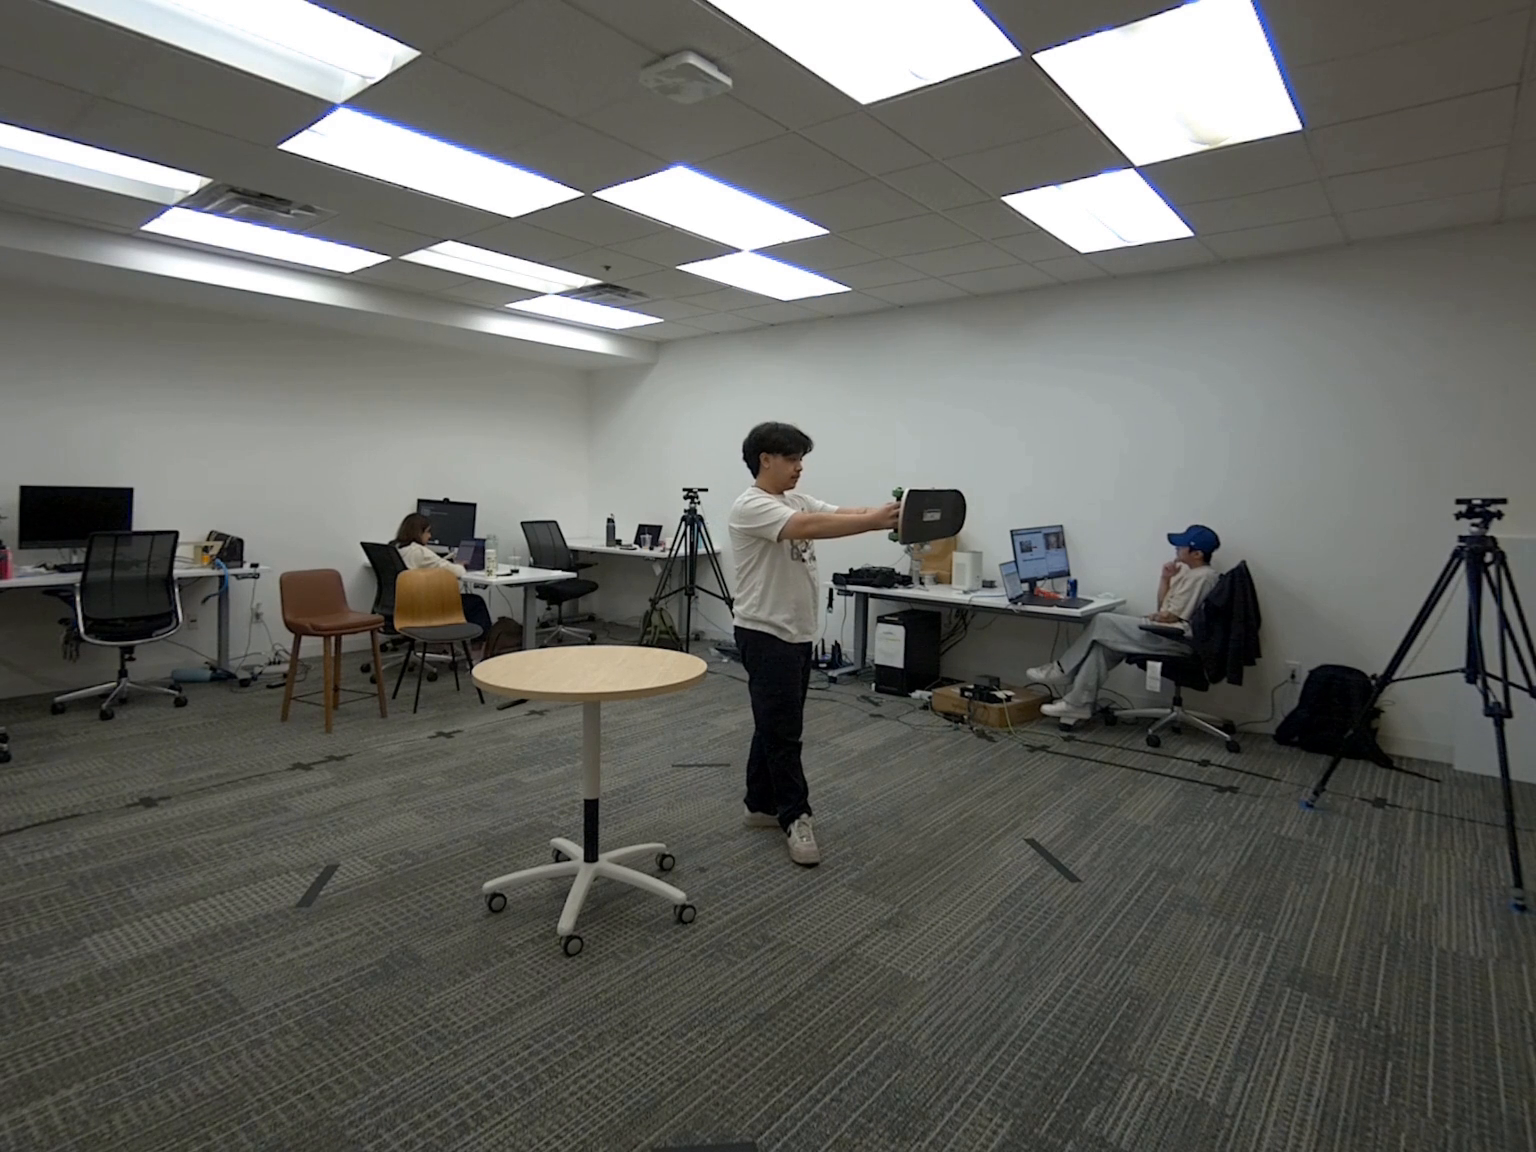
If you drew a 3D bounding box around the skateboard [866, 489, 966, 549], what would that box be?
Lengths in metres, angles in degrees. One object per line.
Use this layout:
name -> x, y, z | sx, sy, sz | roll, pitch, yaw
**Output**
skateboard -> 0.565, -0.223, 3.121 | 0.113, 0.193, 0.766 | 1, 5, 29
